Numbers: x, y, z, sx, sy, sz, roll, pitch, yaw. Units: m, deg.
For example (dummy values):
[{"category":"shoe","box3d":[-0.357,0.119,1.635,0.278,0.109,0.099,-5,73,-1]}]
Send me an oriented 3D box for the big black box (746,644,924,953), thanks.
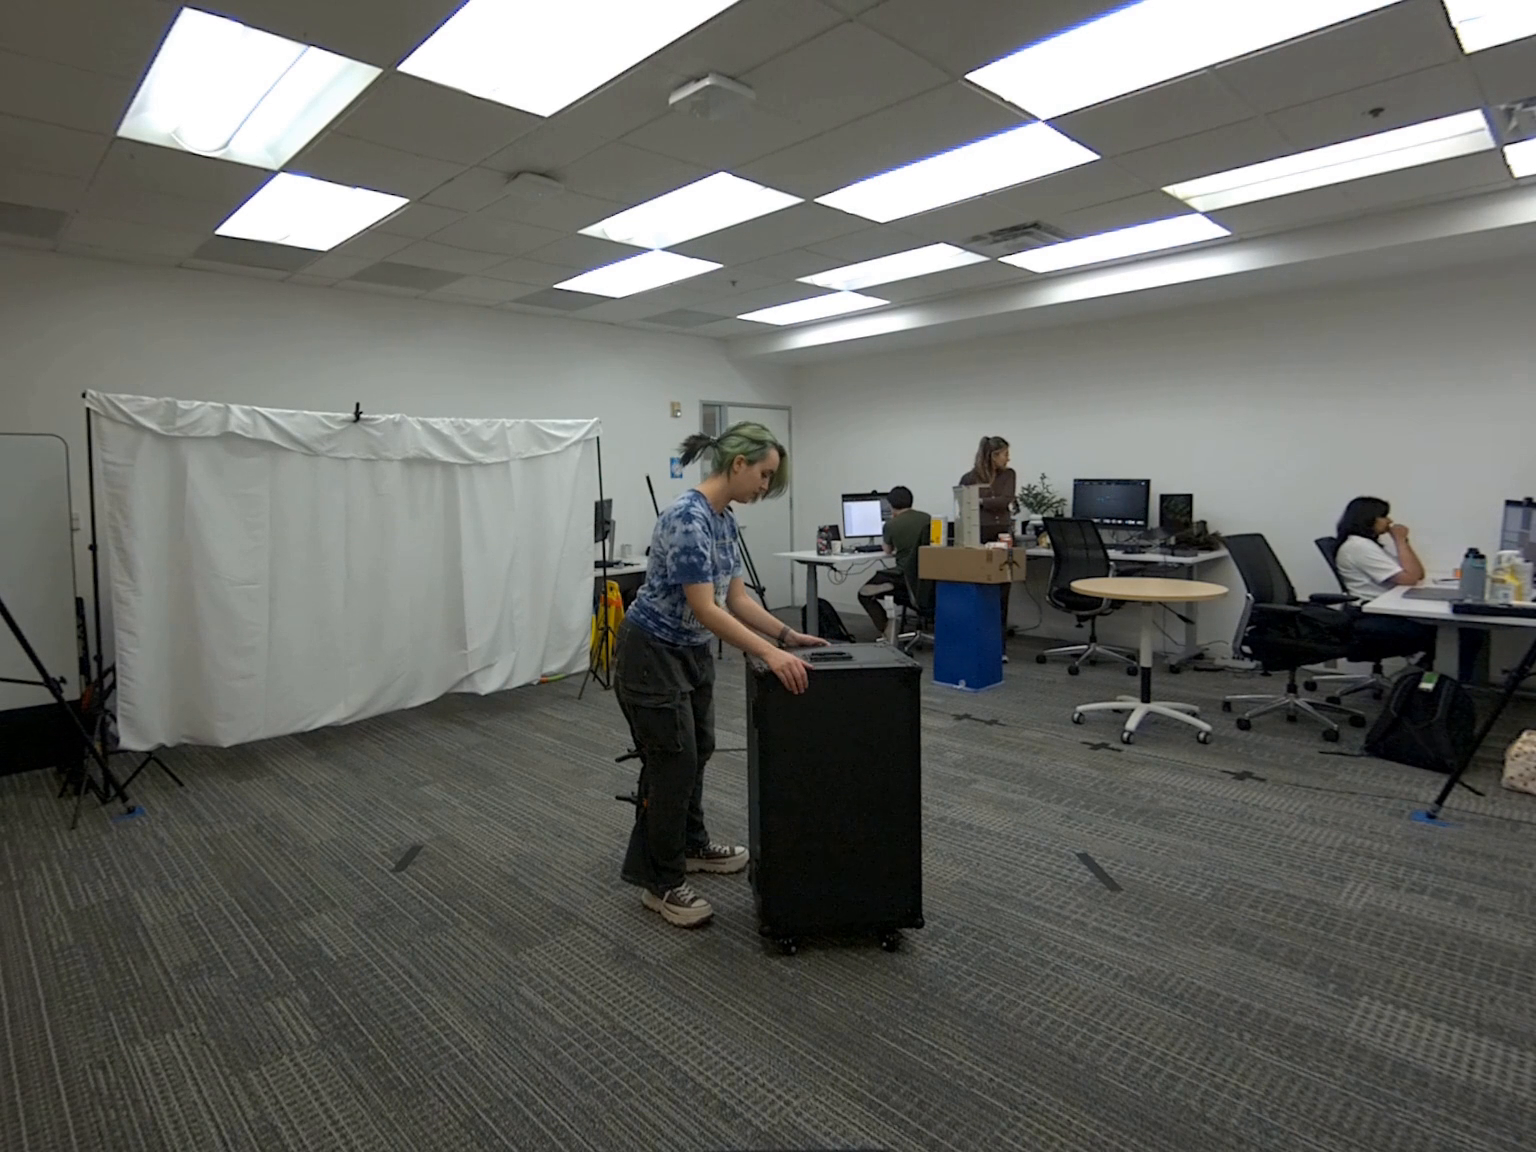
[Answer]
[{"category":"big black box","box3d":[0.193,0.678,2.645,0.520,0.859,0.399,-1,4,-3]}]
